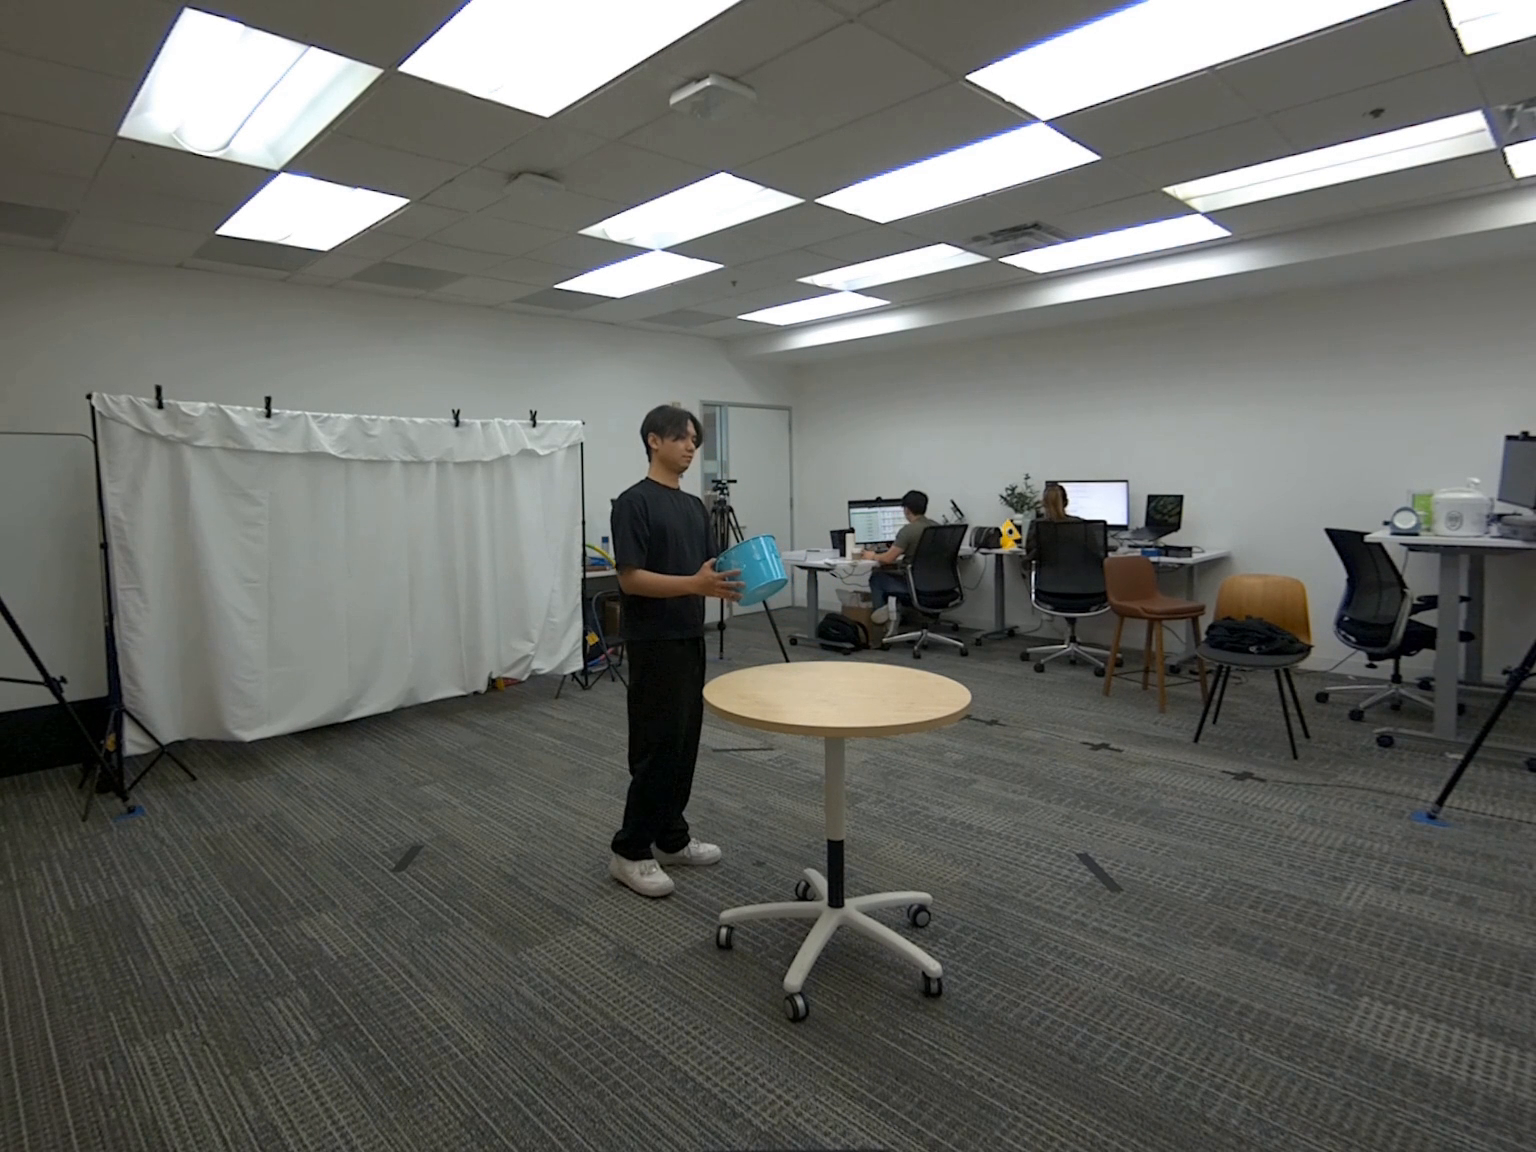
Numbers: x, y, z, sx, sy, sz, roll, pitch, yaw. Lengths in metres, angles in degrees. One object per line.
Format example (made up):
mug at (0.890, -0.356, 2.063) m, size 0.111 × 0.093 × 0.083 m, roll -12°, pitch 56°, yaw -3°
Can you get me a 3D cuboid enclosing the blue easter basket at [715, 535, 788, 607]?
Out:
blue easter basket at (-0.057, -0.011, 2.845) m, size 0.242 × 0.159 × 0.239 m, roll -24°, pitch -16°, yaw -10°
